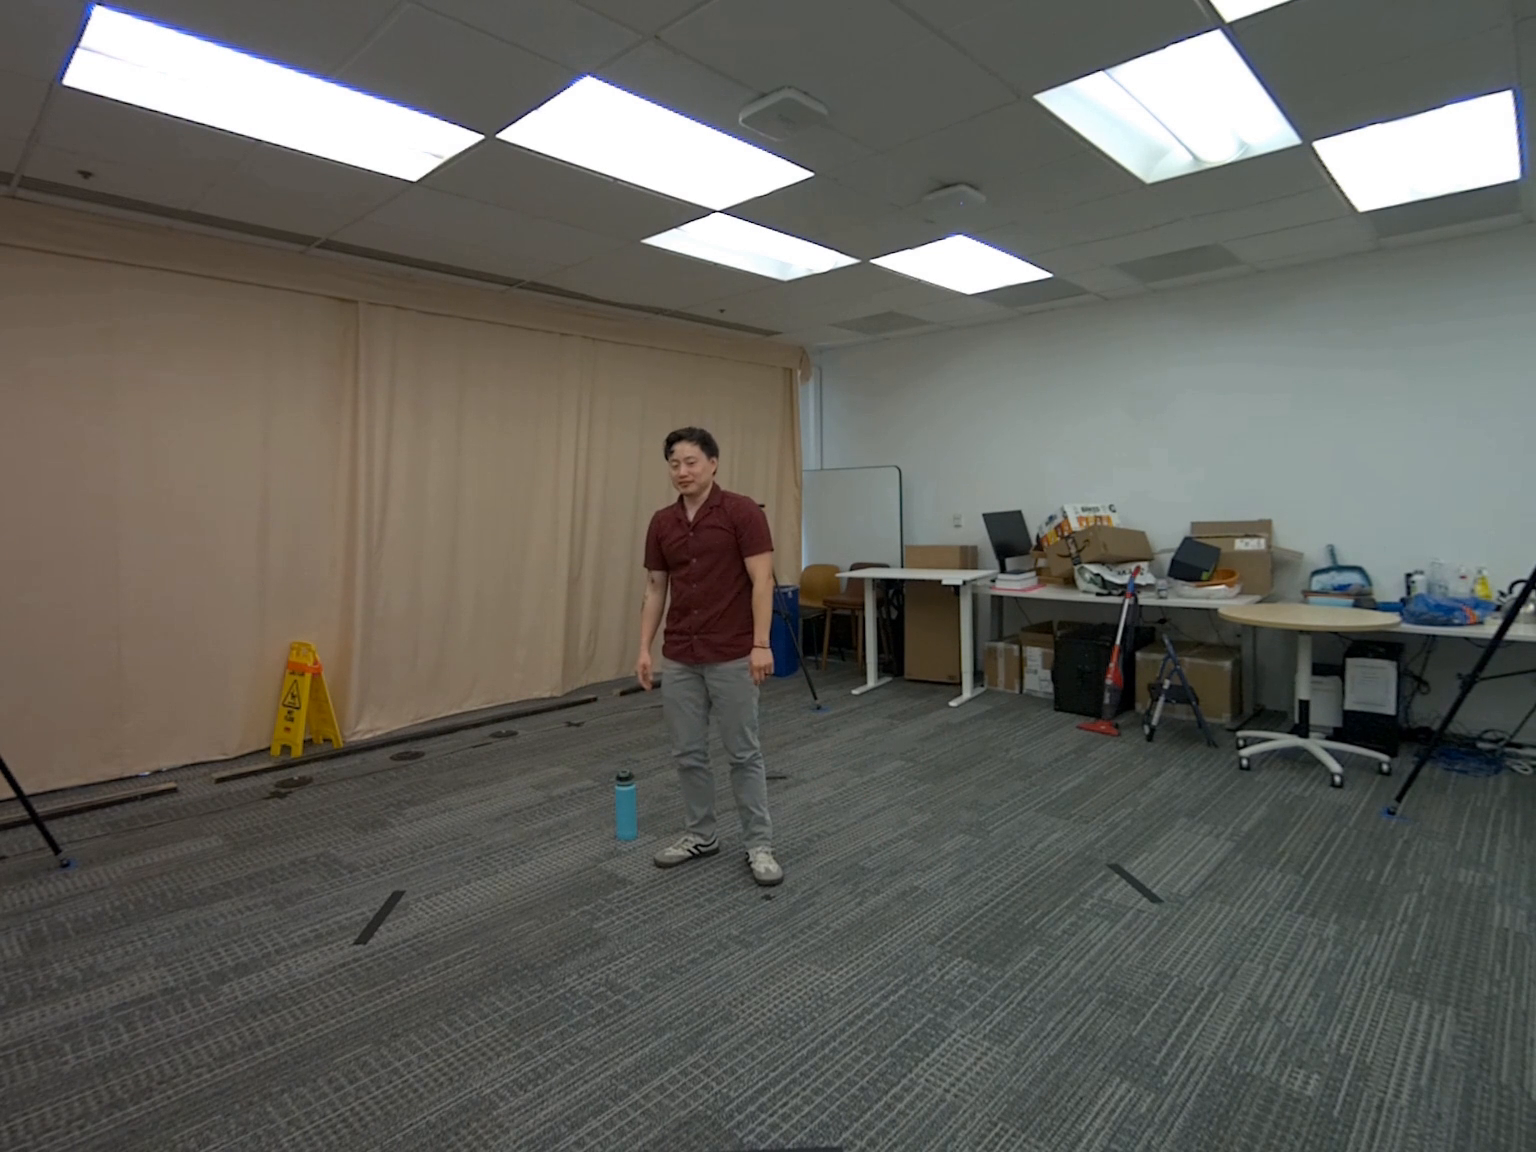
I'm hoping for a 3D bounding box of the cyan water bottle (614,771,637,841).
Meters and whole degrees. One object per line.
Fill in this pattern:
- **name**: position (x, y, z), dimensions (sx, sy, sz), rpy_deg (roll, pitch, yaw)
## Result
- **cyan water bottle**: position (-0.605, 0.965, 3.563), dimensions (0.092, 0.283, 0.092), rpy_deg (-3, 1, -2)
